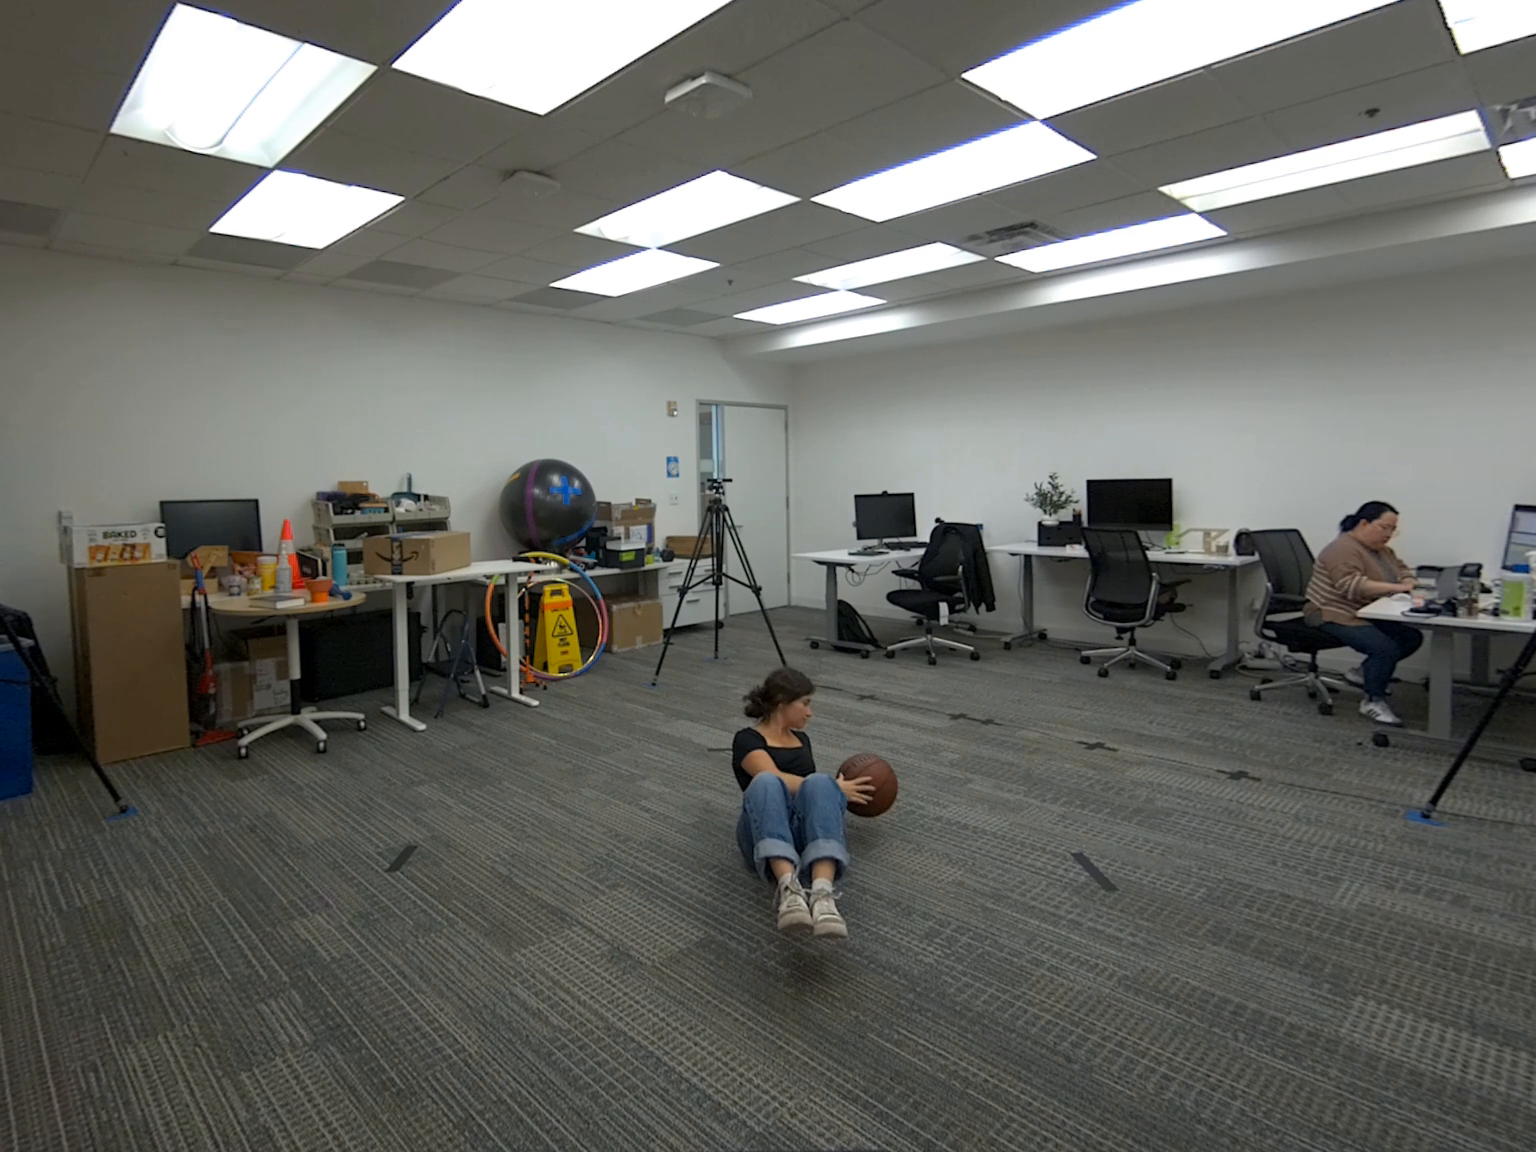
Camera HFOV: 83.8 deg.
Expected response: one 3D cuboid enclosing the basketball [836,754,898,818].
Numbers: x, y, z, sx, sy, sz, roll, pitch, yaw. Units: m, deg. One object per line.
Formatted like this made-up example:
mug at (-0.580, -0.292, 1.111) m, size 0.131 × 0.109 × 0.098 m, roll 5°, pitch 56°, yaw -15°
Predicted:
basketball at (0.369, 0.792, 3.285) m, size 0.236 × 0.235 × 0.237 m, roll -1°, pitch 5°, yaw -2°
